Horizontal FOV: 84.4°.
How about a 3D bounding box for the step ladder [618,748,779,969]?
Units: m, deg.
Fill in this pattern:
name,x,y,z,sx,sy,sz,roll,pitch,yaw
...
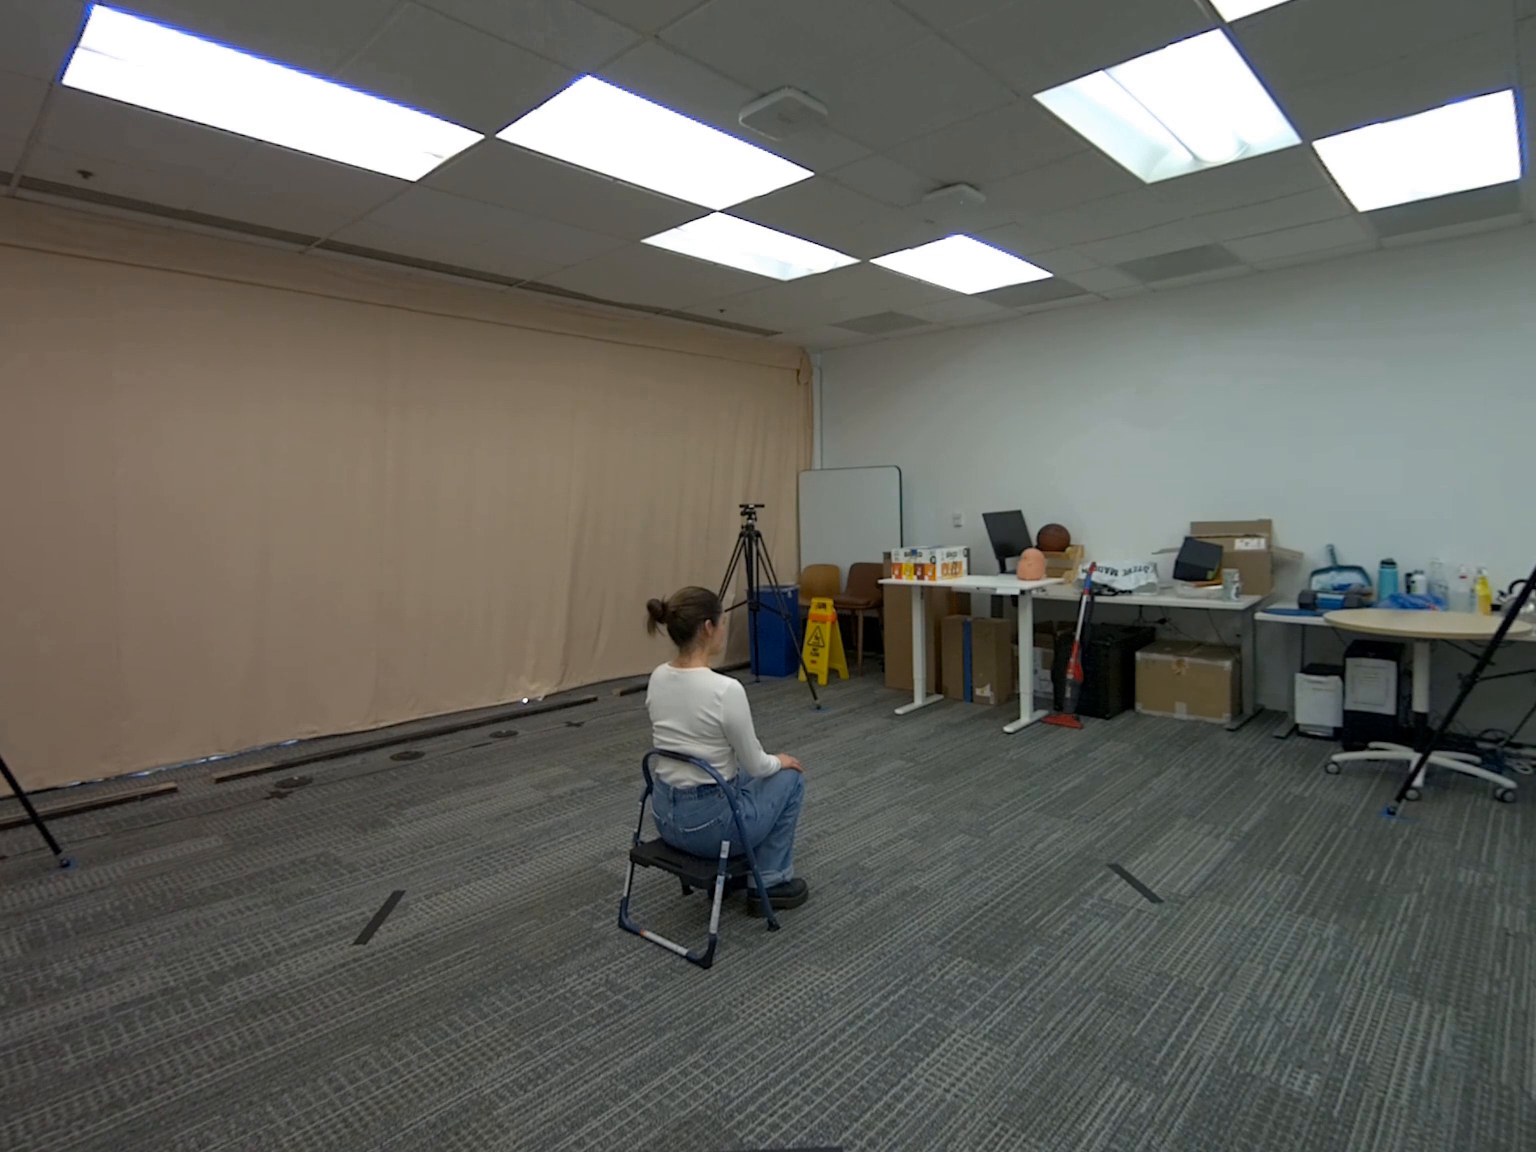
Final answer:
name,x,y,z,sx,sy,sz,roll,pitch,yaw
step ladder,-0.240,0.858,2.766,0.445,0.605,0.339,2,4,40
